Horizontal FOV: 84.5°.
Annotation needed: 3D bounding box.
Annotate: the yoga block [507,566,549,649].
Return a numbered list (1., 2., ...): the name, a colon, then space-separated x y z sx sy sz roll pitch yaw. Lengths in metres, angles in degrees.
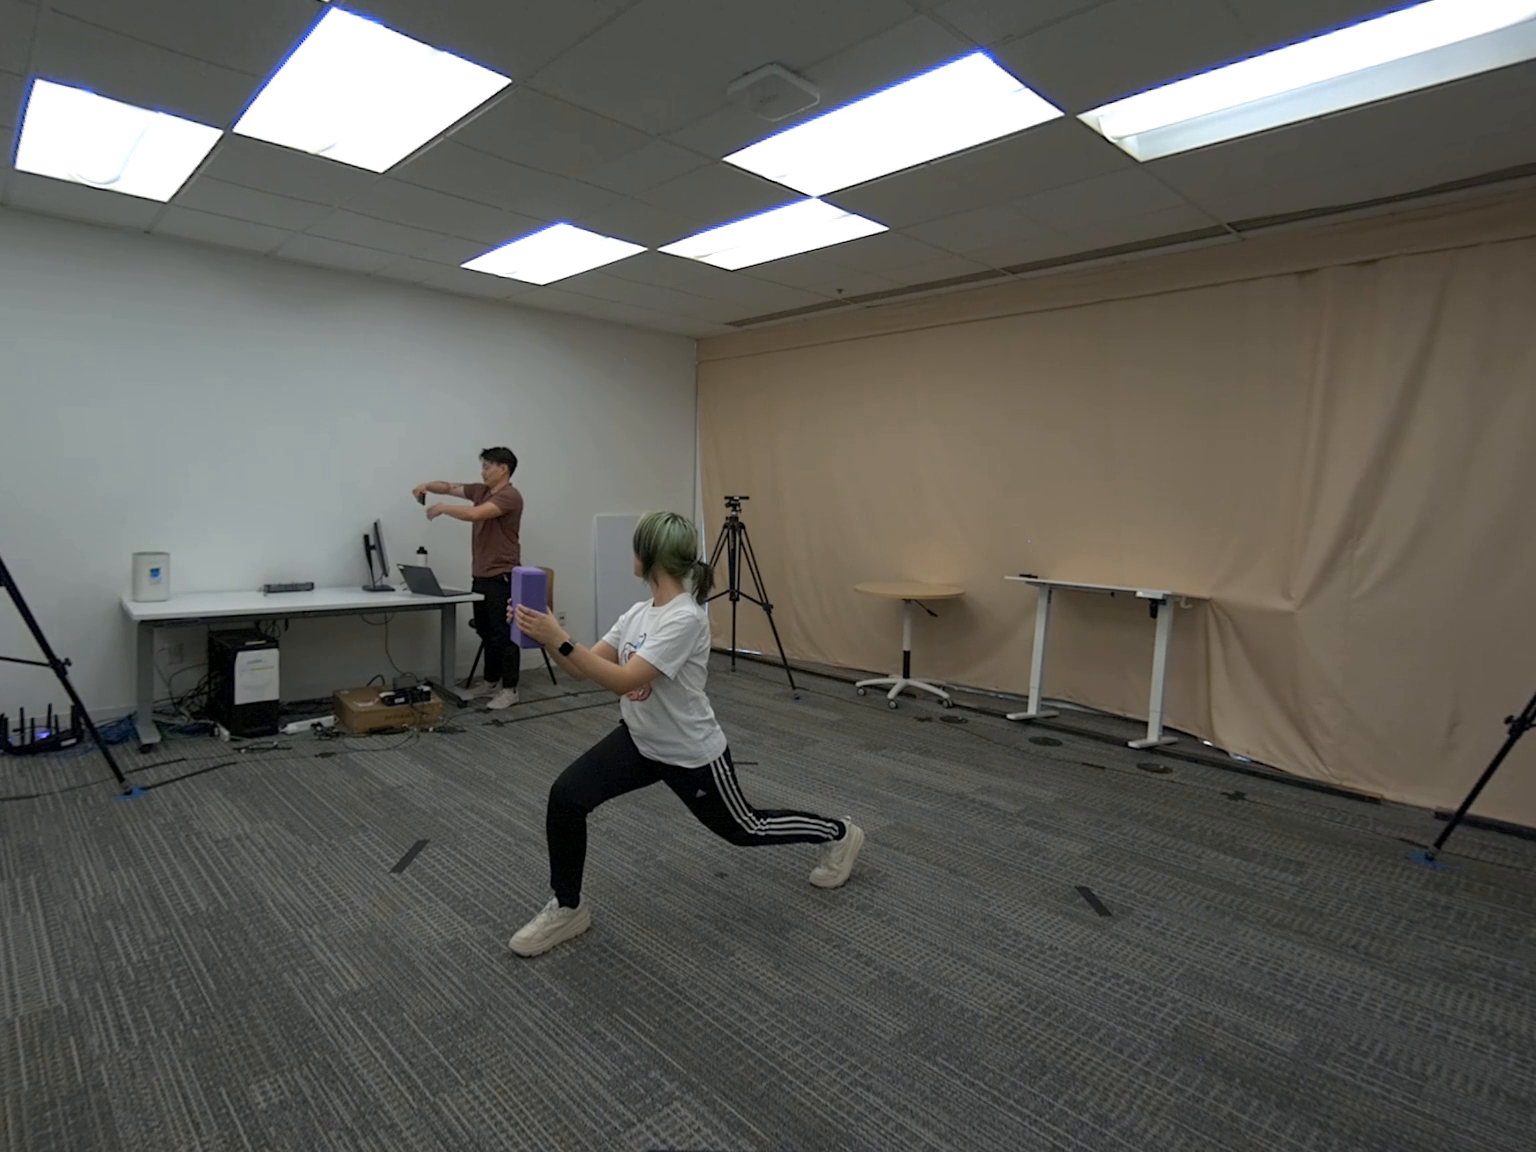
1. yoga block: -0.724 0.092 2.530 0.075 0.229 0.152 -1 4 -28
